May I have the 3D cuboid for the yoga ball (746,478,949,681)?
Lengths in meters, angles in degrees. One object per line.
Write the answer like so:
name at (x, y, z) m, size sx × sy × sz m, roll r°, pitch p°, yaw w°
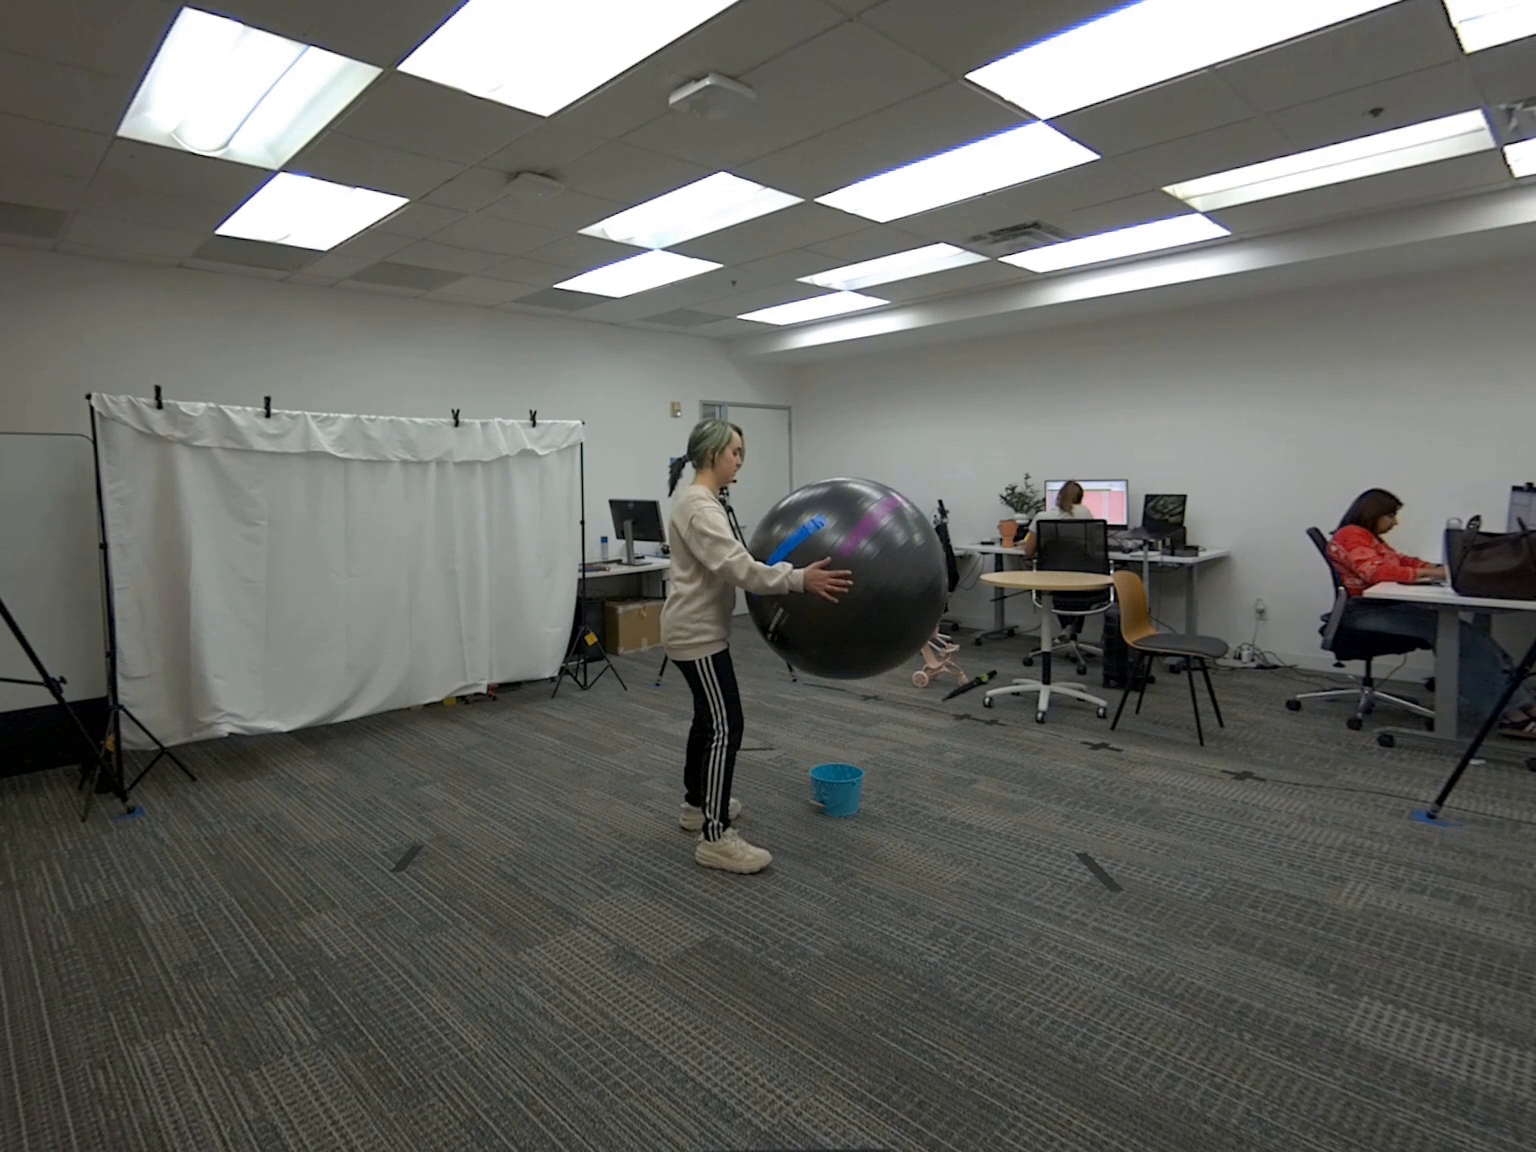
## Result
yoga ball at (0.283, 0.017, 3.217) m, size 0.757 × 0.755 × 0.762 m, roll -1°, pitch 5°, yaw -2°
